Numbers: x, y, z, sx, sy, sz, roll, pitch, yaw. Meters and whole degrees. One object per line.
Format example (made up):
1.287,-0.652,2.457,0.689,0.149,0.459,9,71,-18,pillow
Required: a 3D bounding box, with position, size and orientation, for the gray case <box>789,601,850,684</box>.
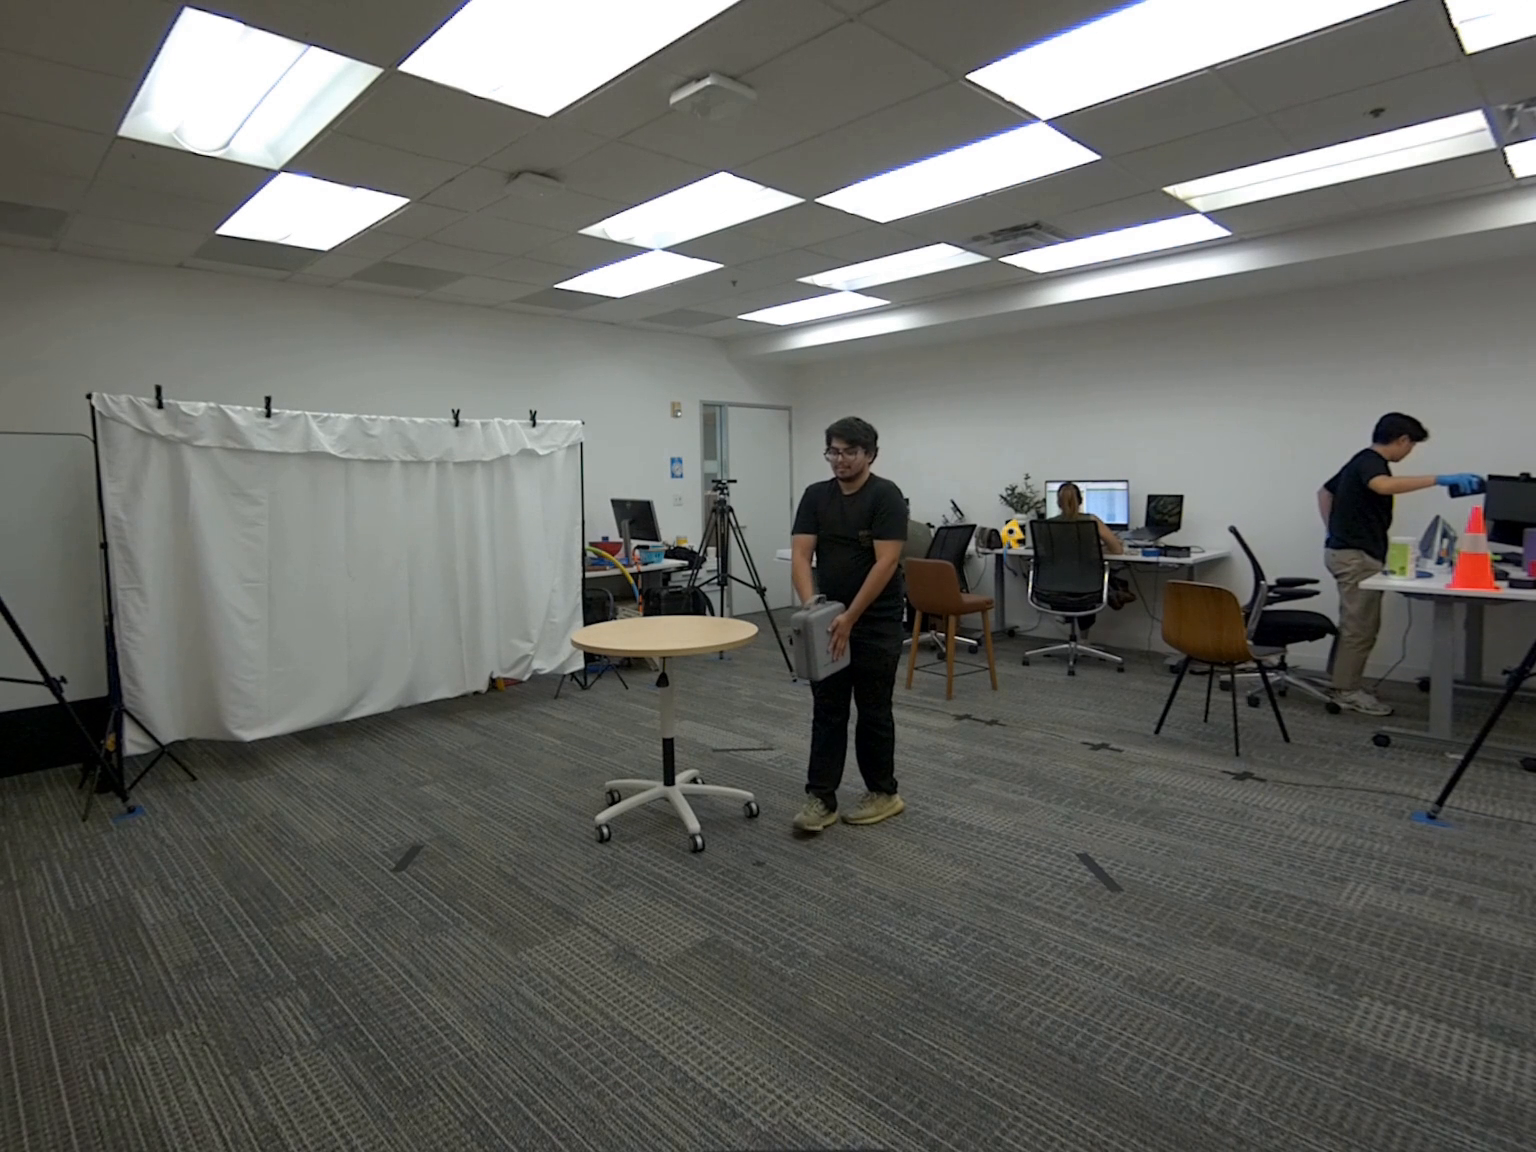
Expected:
0.195,0.238,3.181,0.107,0.259,0.252,-3,7,35,gray case
